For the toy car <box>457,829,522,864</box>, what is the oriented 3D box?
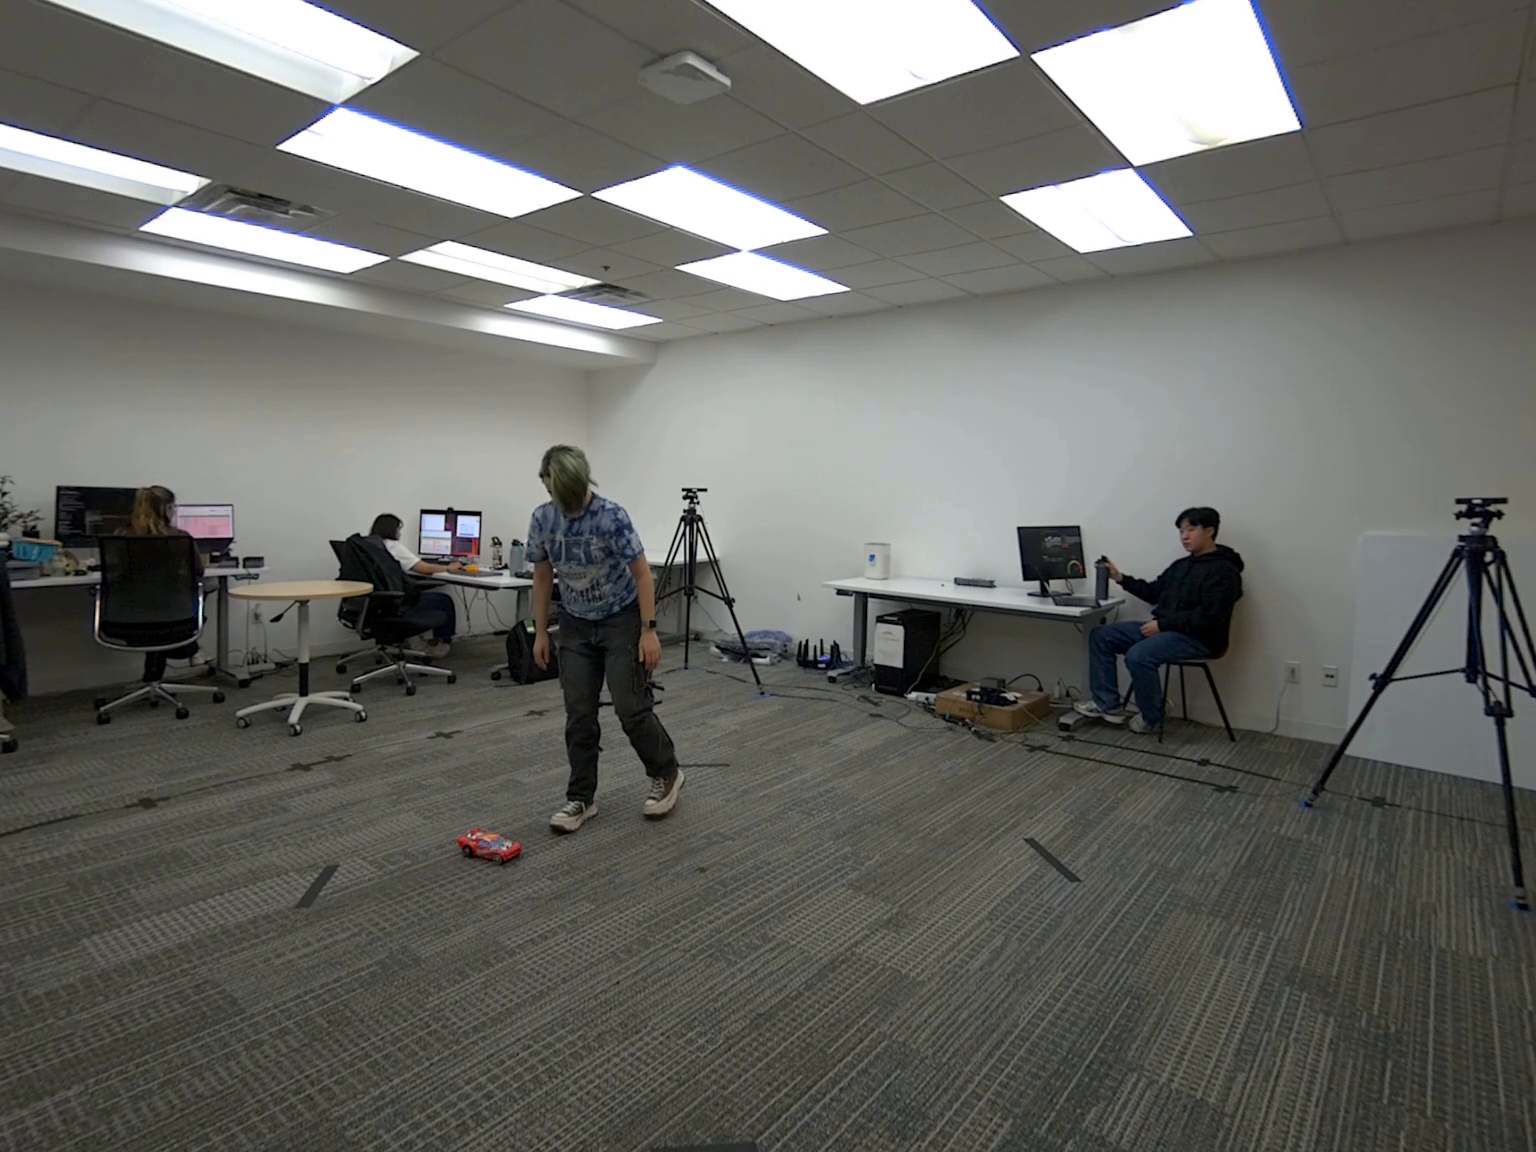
[{"bbox_3d":[-1.072,1.018,3.198,0.262,0.083,0.127,14,9,25],"label":"toy car"}]
